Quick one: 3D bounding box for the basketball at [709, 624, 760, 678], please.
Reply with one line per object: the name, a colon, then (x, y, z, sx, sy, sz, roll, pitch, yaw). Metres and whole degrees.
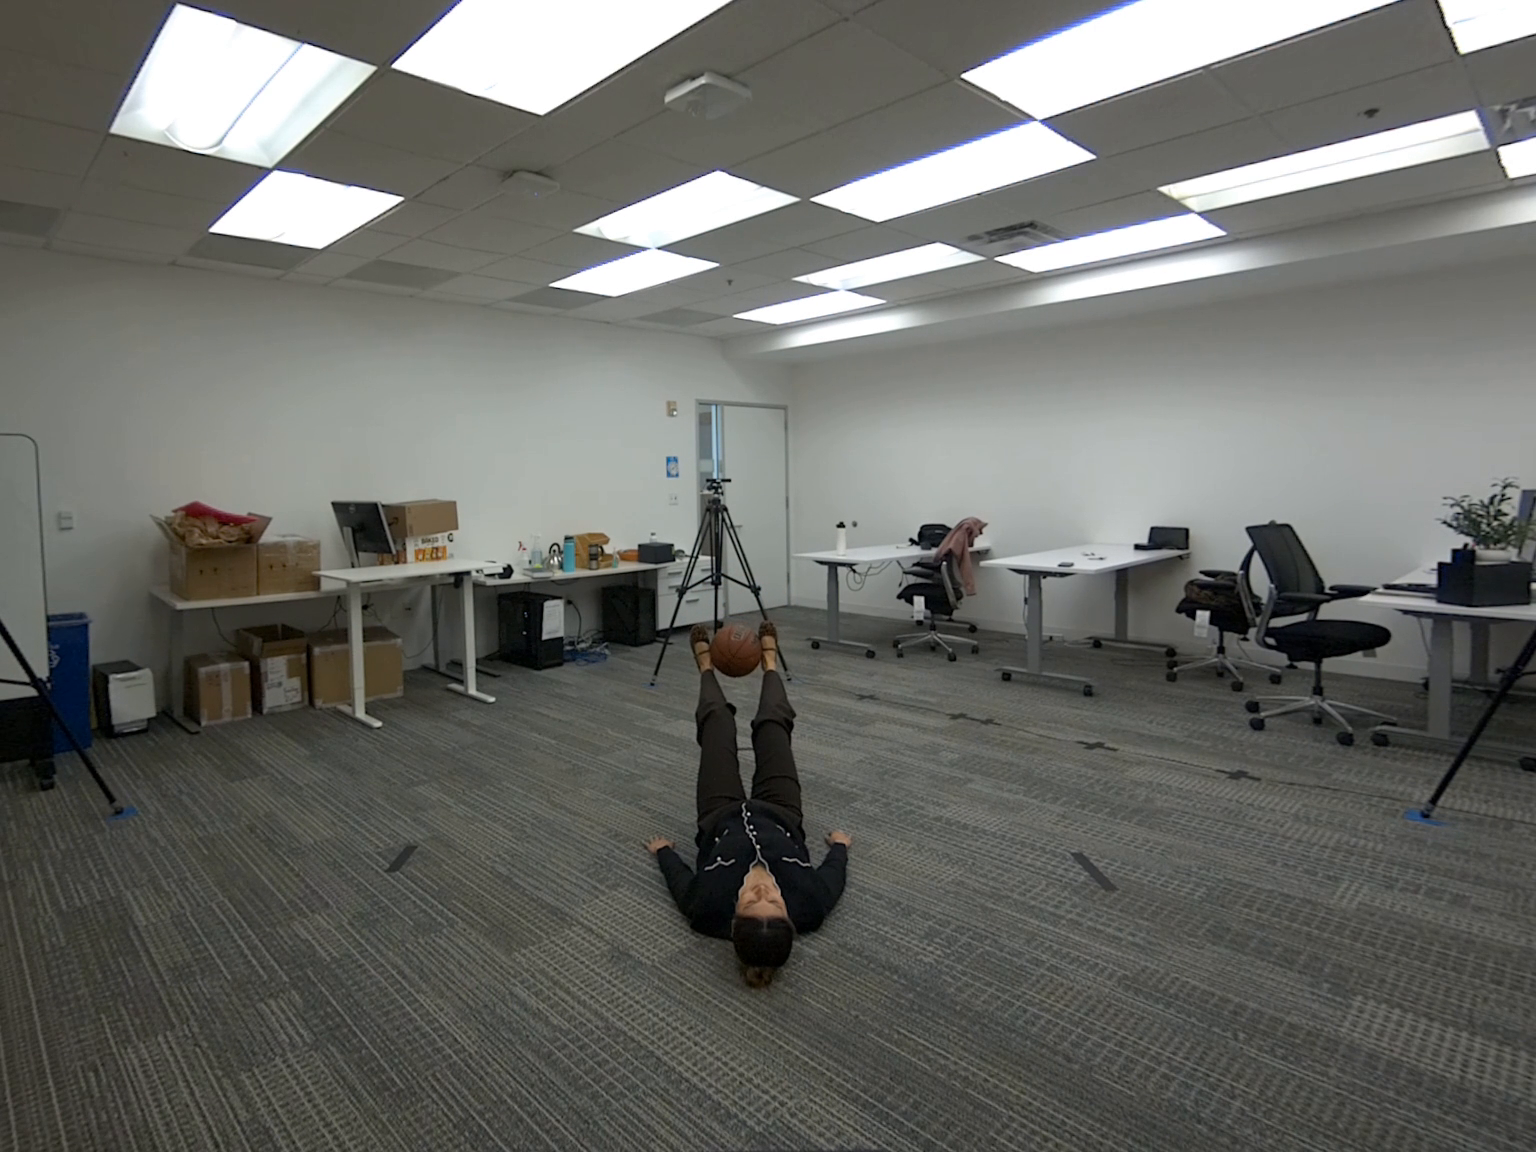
basketball: (-0.137, 0.333, 3.835, 0.236, 0.235, 0.237, -4, 4, -1)
